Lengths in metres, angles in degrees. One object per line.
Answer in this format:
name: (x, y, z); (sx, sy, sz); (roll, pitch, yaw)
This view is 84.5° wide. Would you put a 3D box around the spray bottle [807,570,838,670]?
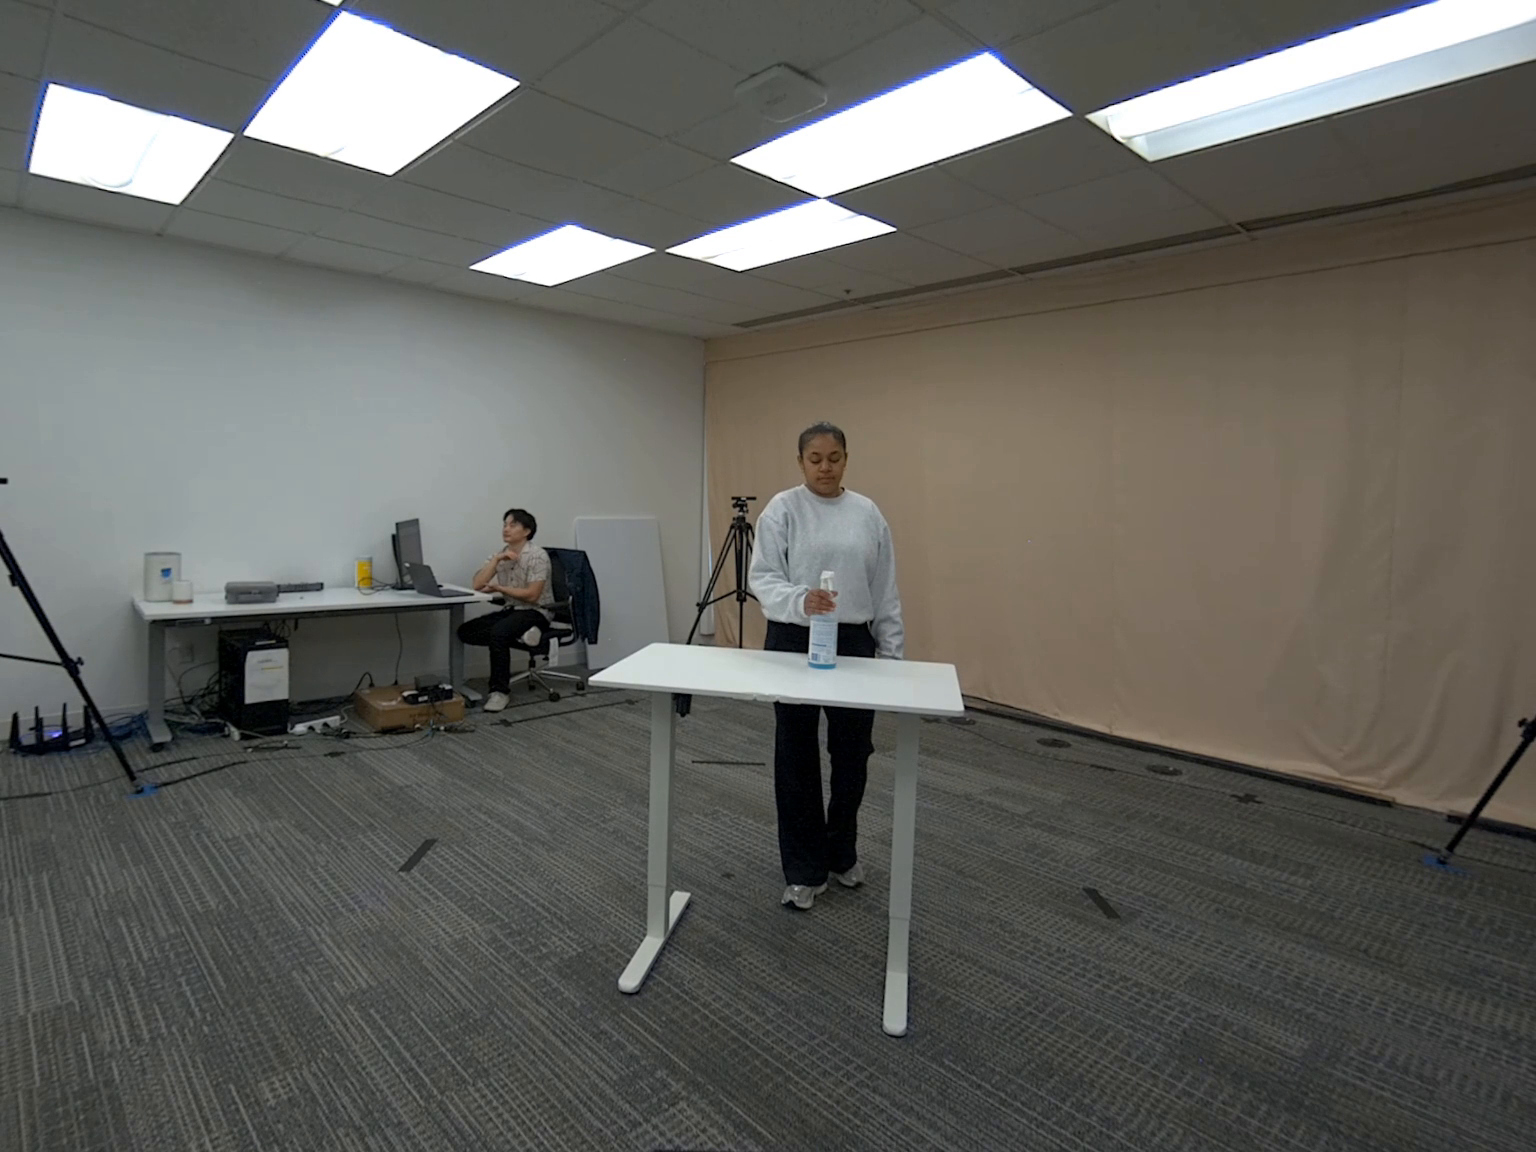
spray bottle: (0.160, 0.134, 2.578); (0.088, 0.296, 0.089); (3, 4, 14)
